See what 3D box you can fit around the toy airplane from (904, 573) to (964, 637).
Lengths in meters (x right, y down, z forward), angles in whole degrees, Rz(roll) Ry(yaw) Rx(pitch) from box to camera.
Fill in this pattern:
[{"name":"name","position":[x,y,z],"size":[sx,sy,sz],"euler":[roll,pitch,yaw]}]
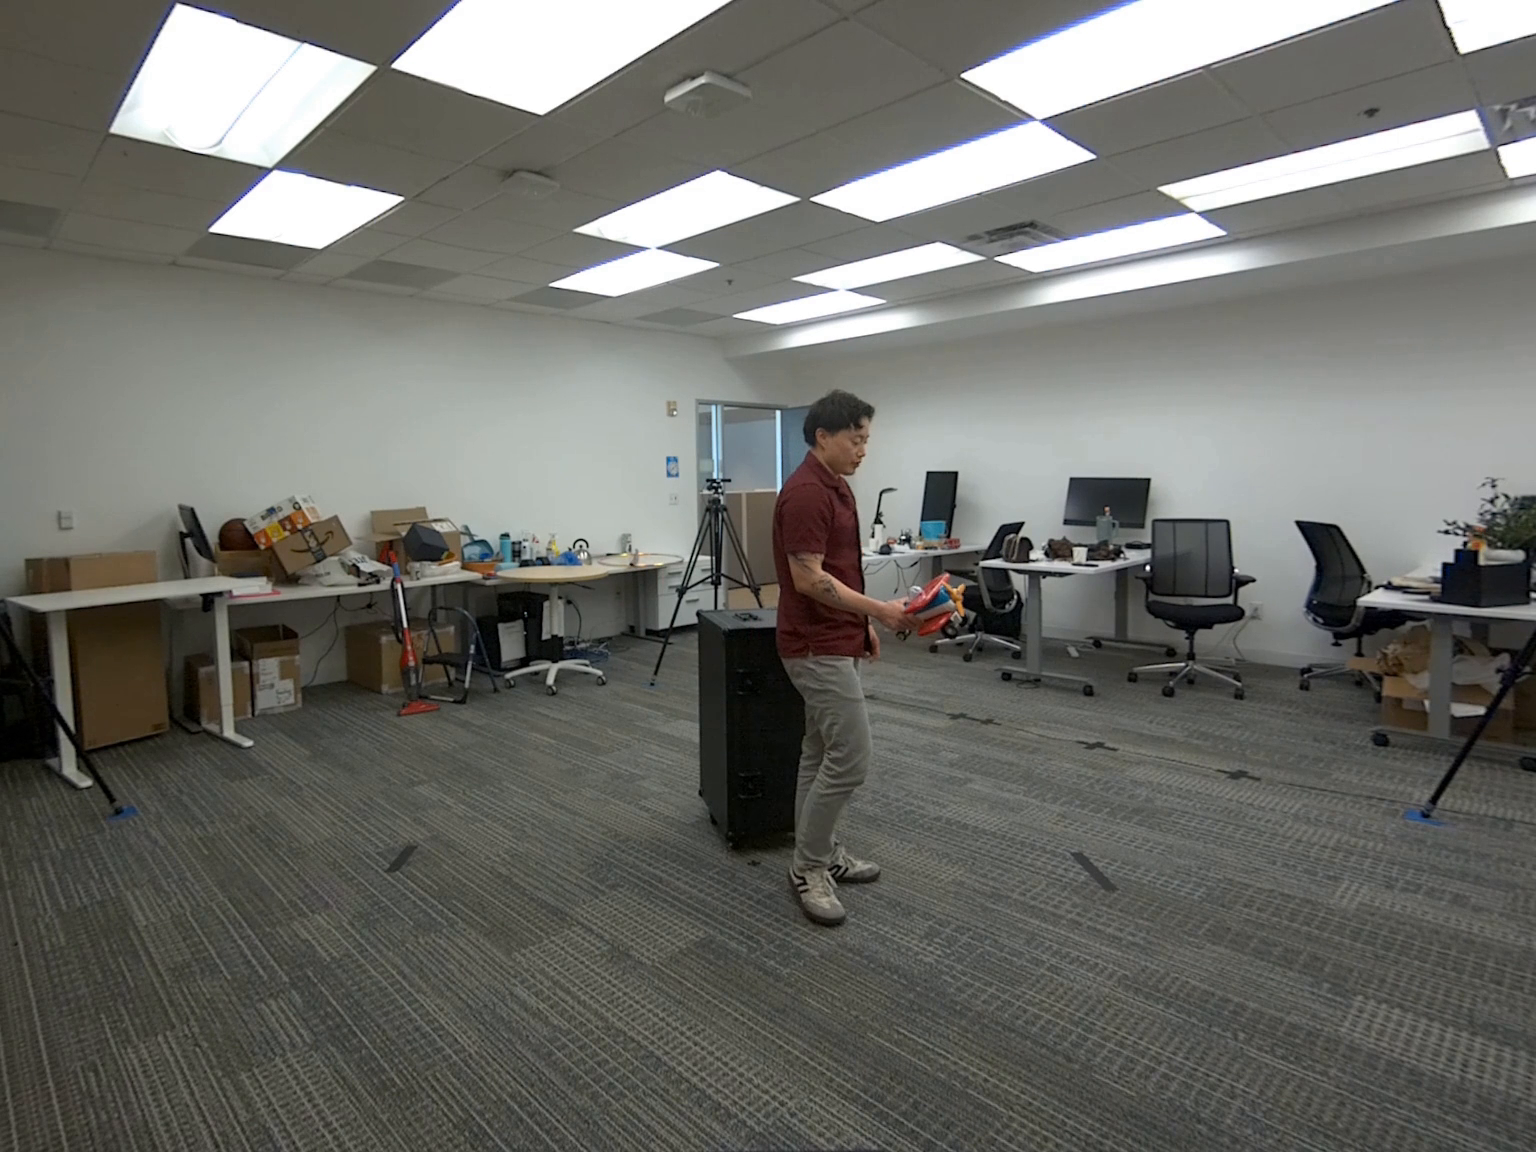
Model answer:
[{"name":"toy airplane","position":[0.477,0.118,2.573],"size":[0.261,0.154,0.253],"euler":[-18,13,10]}]
